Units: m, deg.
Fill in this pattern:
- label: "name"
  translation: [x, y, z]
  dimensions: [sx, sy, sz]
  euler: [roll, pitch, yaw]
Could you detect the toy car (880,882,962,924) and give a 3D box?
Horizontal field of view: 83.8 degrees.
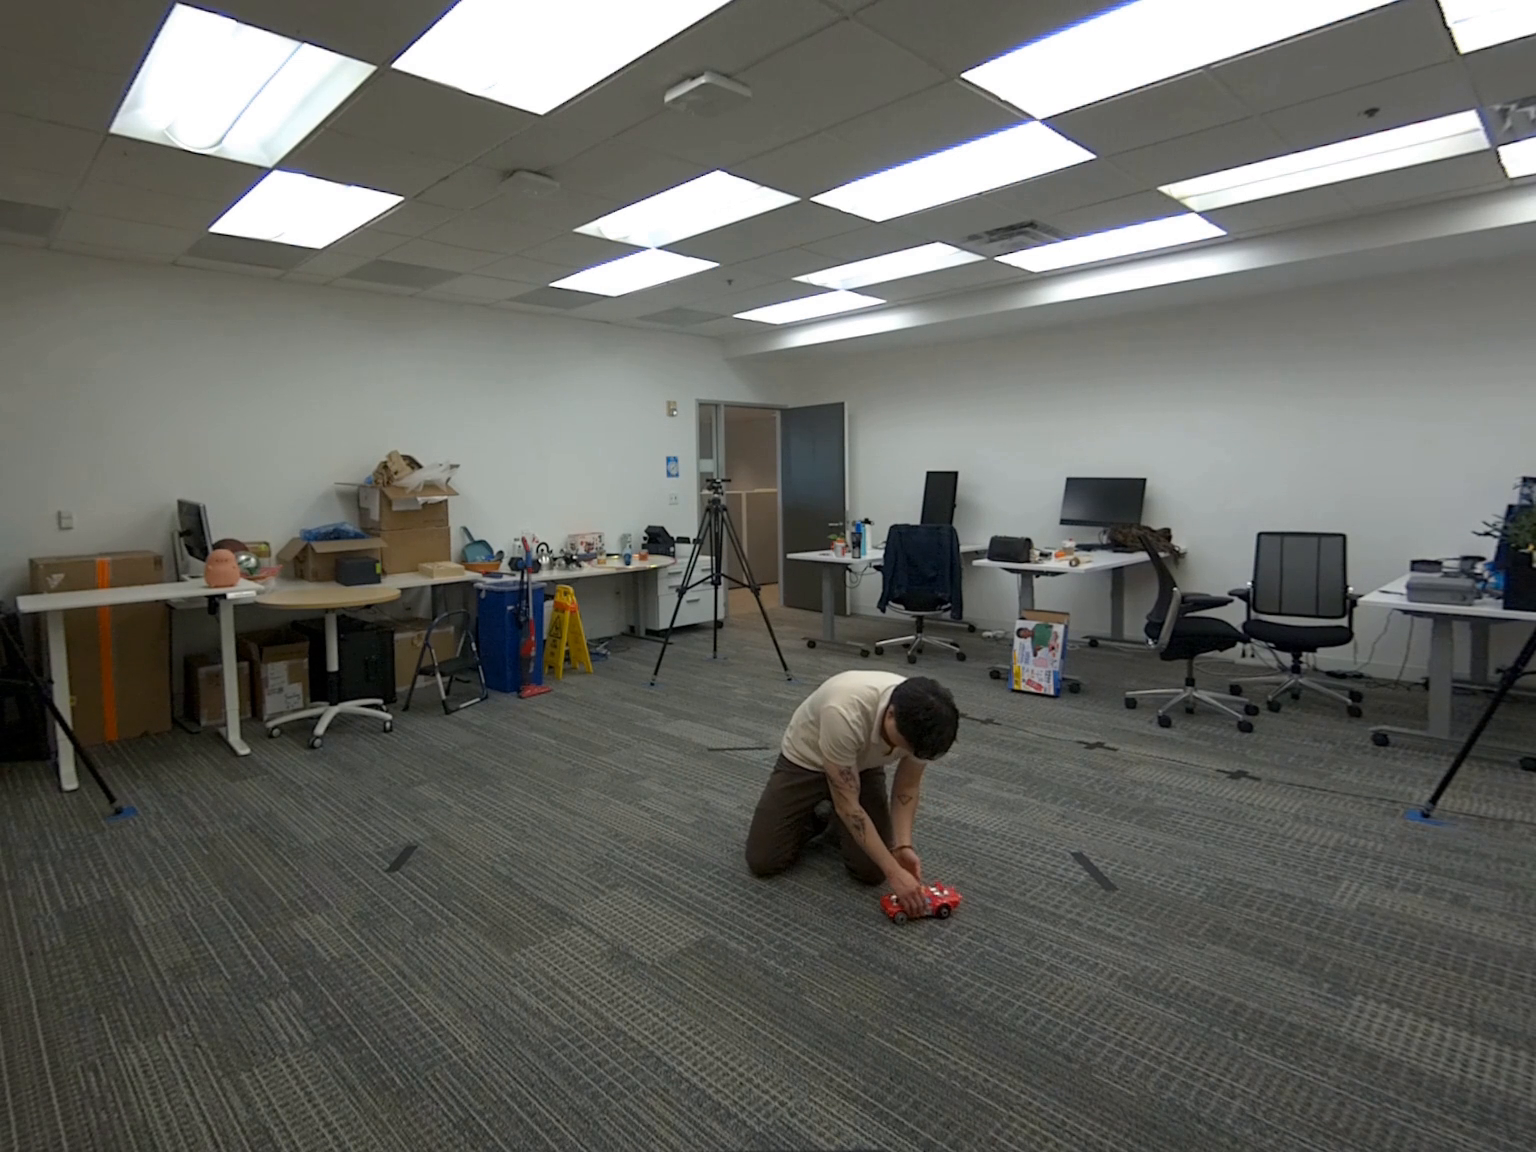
- label: "toy car"
  translation: [0.496, 1.047, 2.724]
  dimensions: [0.253, 0.082, 0.132]
  euler: [-13, 8, -8]
